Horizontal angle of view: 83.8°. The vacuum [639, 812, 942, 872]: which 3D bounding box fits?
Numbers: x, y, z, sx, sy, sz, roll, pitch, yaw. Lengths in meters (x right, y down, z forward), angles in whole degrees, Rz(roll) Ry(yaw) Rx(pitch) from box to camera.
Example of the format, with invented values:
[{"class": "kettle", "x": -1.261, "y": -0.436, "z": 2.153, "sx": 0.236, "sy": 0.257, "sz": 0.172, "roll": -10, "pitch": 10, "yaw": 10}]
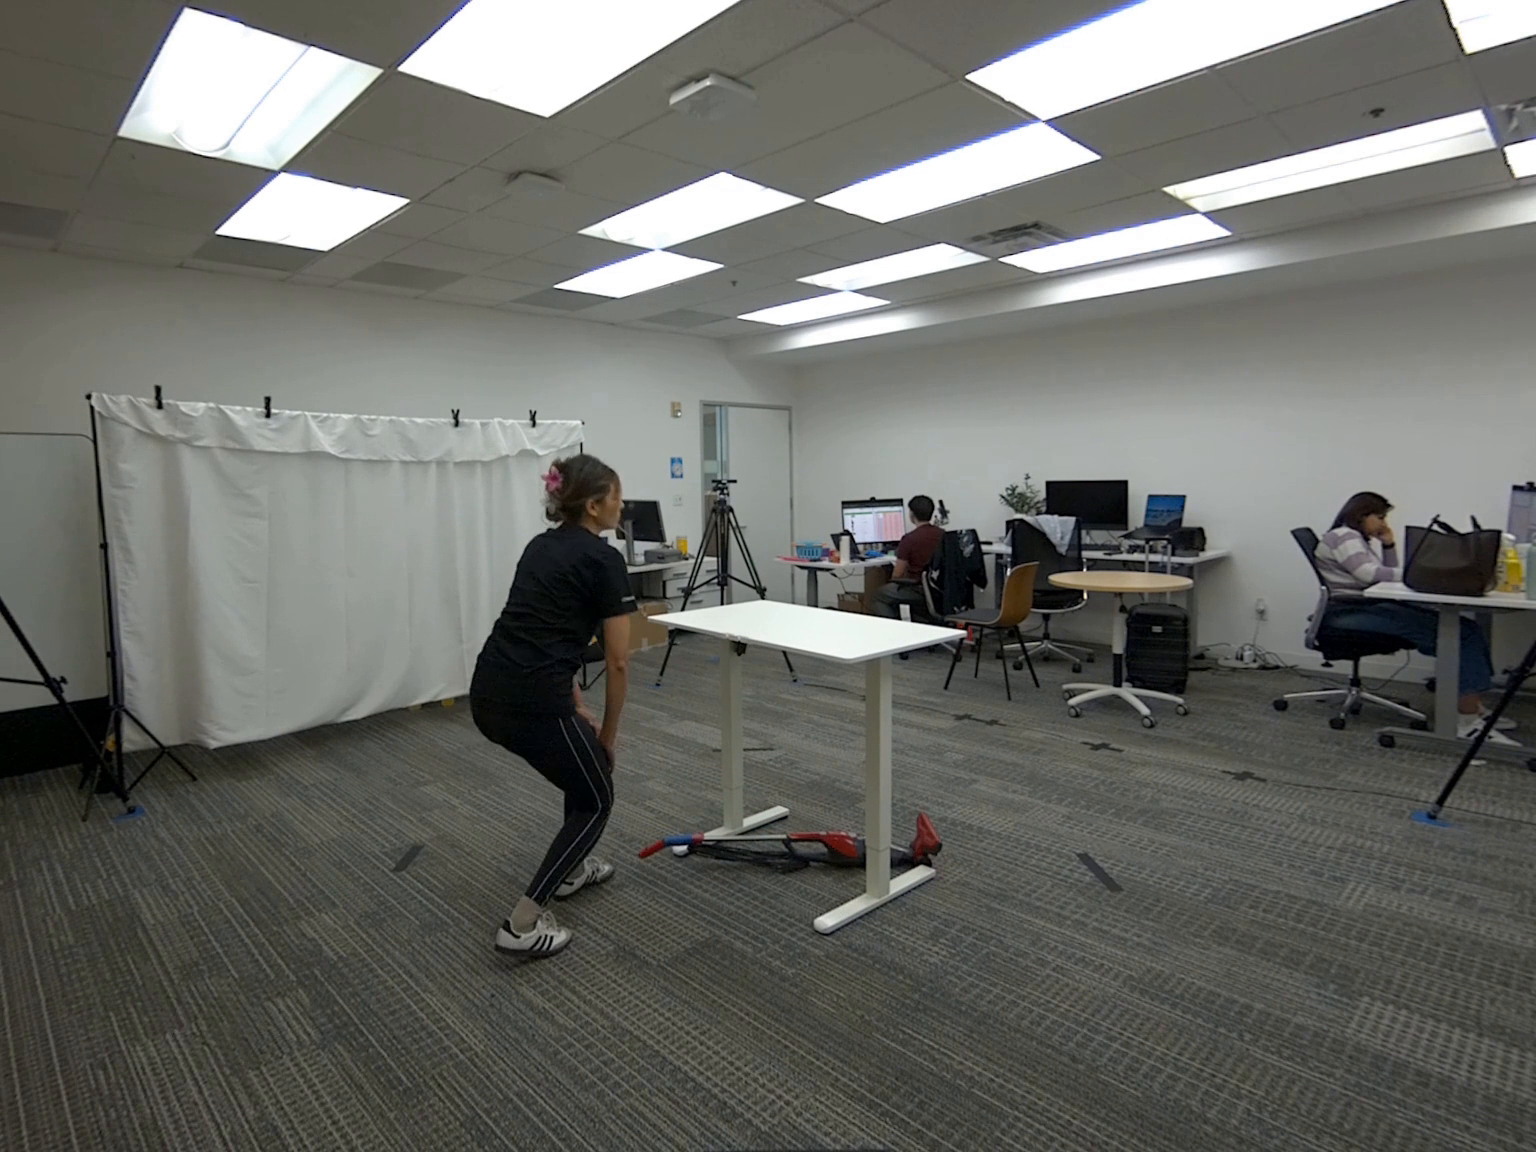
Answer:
[{"class": "vacuum", "x": 0.062, "y": 0.982, "z": 3.074, "sx": 1.048, "sy": 0.143, "sz": 0.254, "roll": -3, "pitch": 8, "yaw": -1}]
